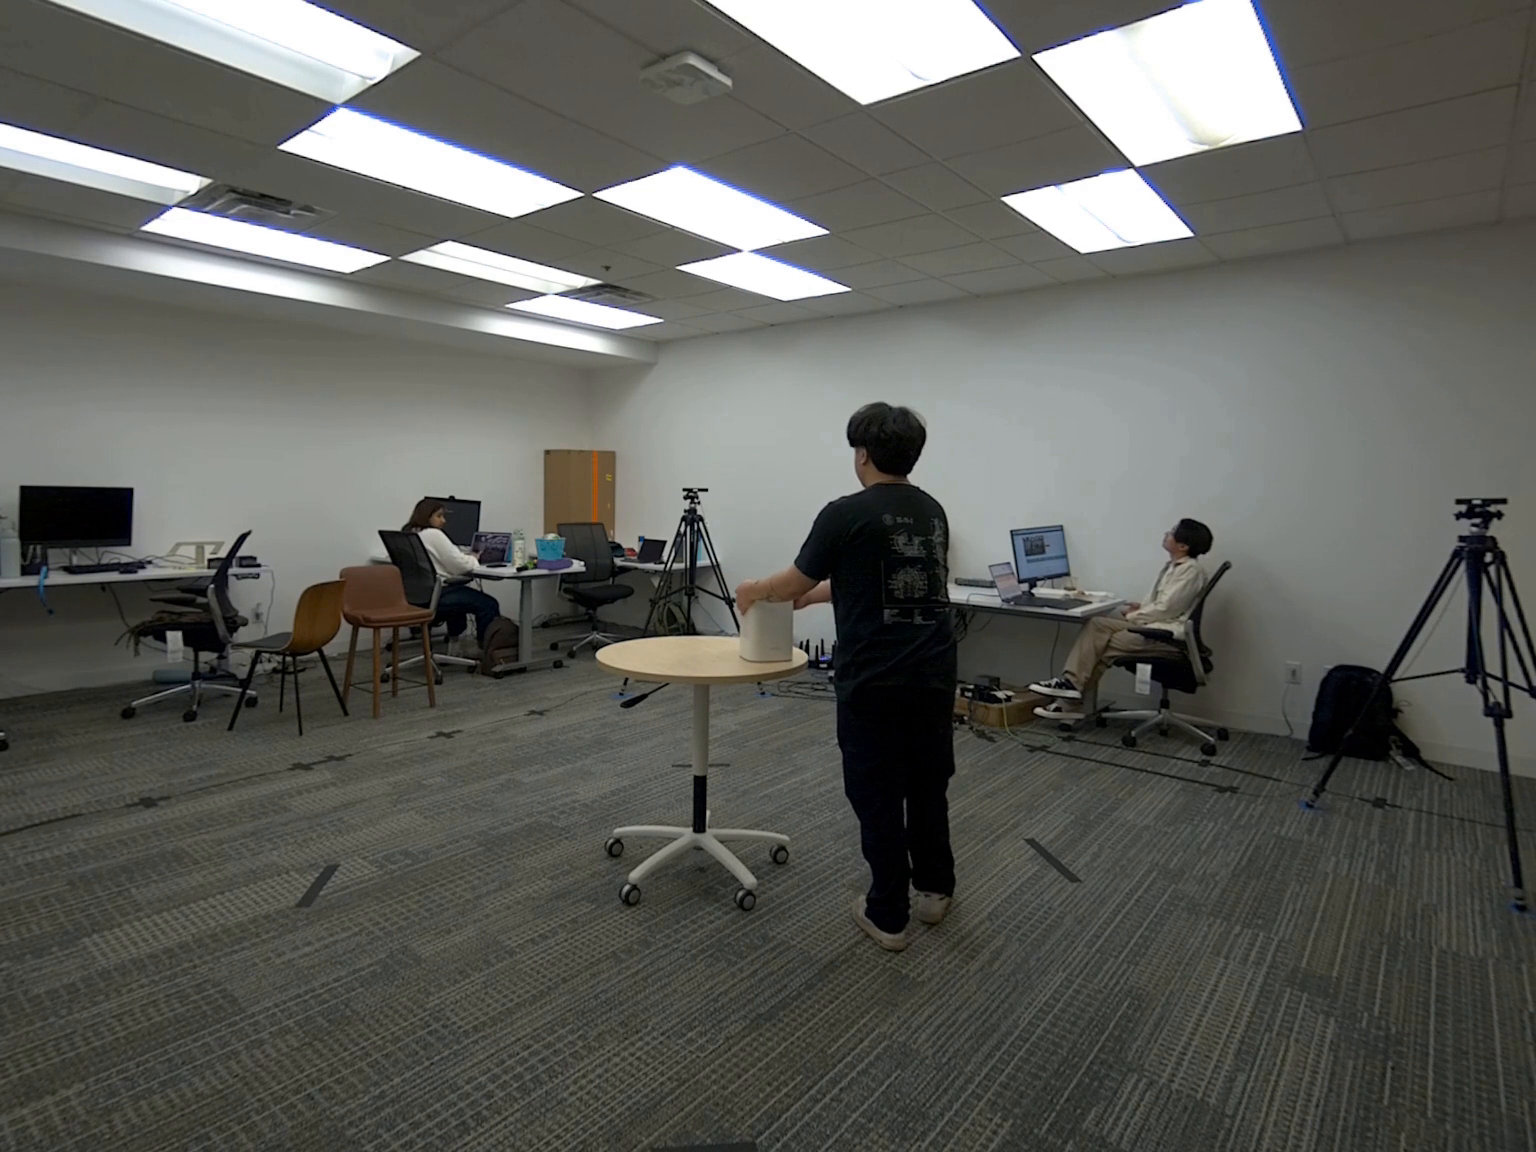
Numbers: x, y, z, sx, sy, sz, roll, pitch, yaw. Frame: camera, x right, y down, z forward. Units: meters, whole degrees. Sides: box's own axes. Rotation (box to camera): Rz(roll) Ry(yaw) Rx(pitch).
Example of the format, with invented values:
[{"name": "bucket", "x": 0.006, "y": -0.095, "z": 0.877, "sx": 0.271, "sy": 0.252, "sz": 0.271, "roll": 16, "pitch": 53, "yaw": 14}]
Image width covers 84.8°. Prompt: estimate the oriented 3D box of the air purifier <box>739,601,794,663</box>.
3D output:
[{"name": "air purifier", "x": -0.016, "y": 0.159, "z": 3.016, "sx": 0.168, "sy": 0.264, "sz": 0.175, "roll": 1, "pitch": 4, "yaw": -15}]
